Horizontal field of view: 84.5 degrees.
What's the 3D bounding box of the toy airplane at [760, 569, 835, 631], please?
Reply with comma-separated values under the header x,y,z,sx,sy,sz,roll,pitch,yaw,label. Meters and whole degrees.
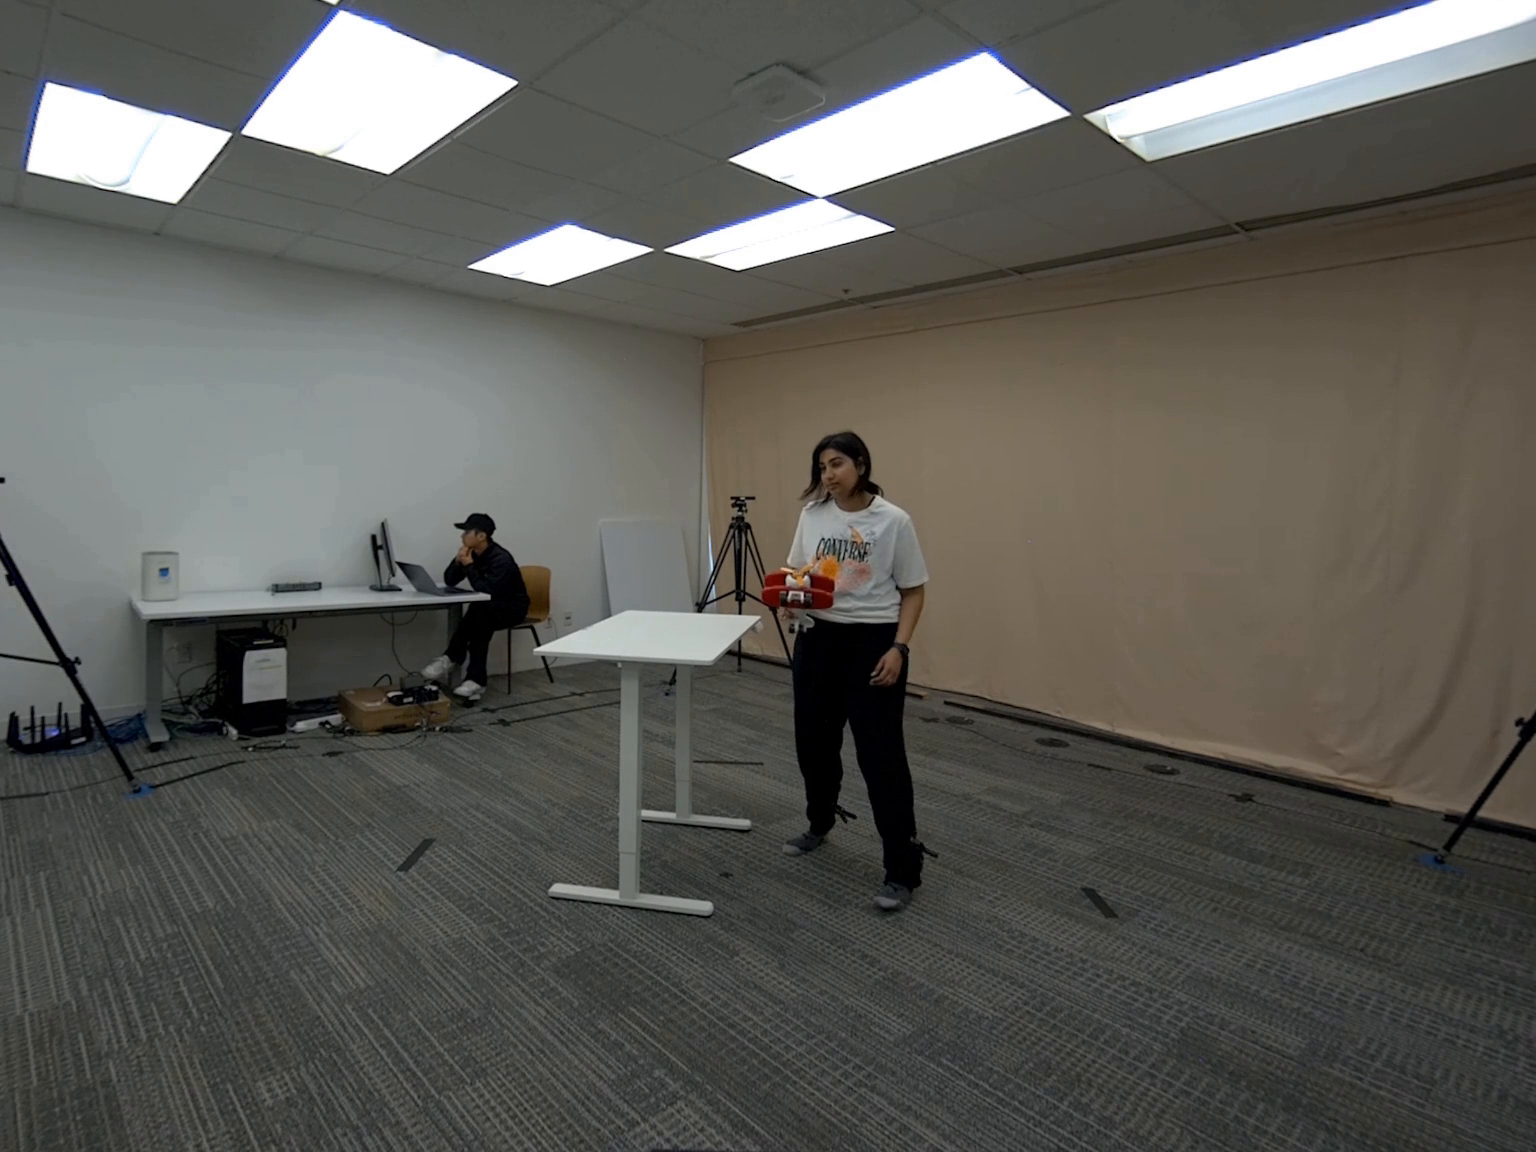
x,y,z,sx,sy,sz,roll,pitch,yaw,label
0.086,0.088,2.996,0.248,0.159,0.258,19,-36,-13,toy airplane
